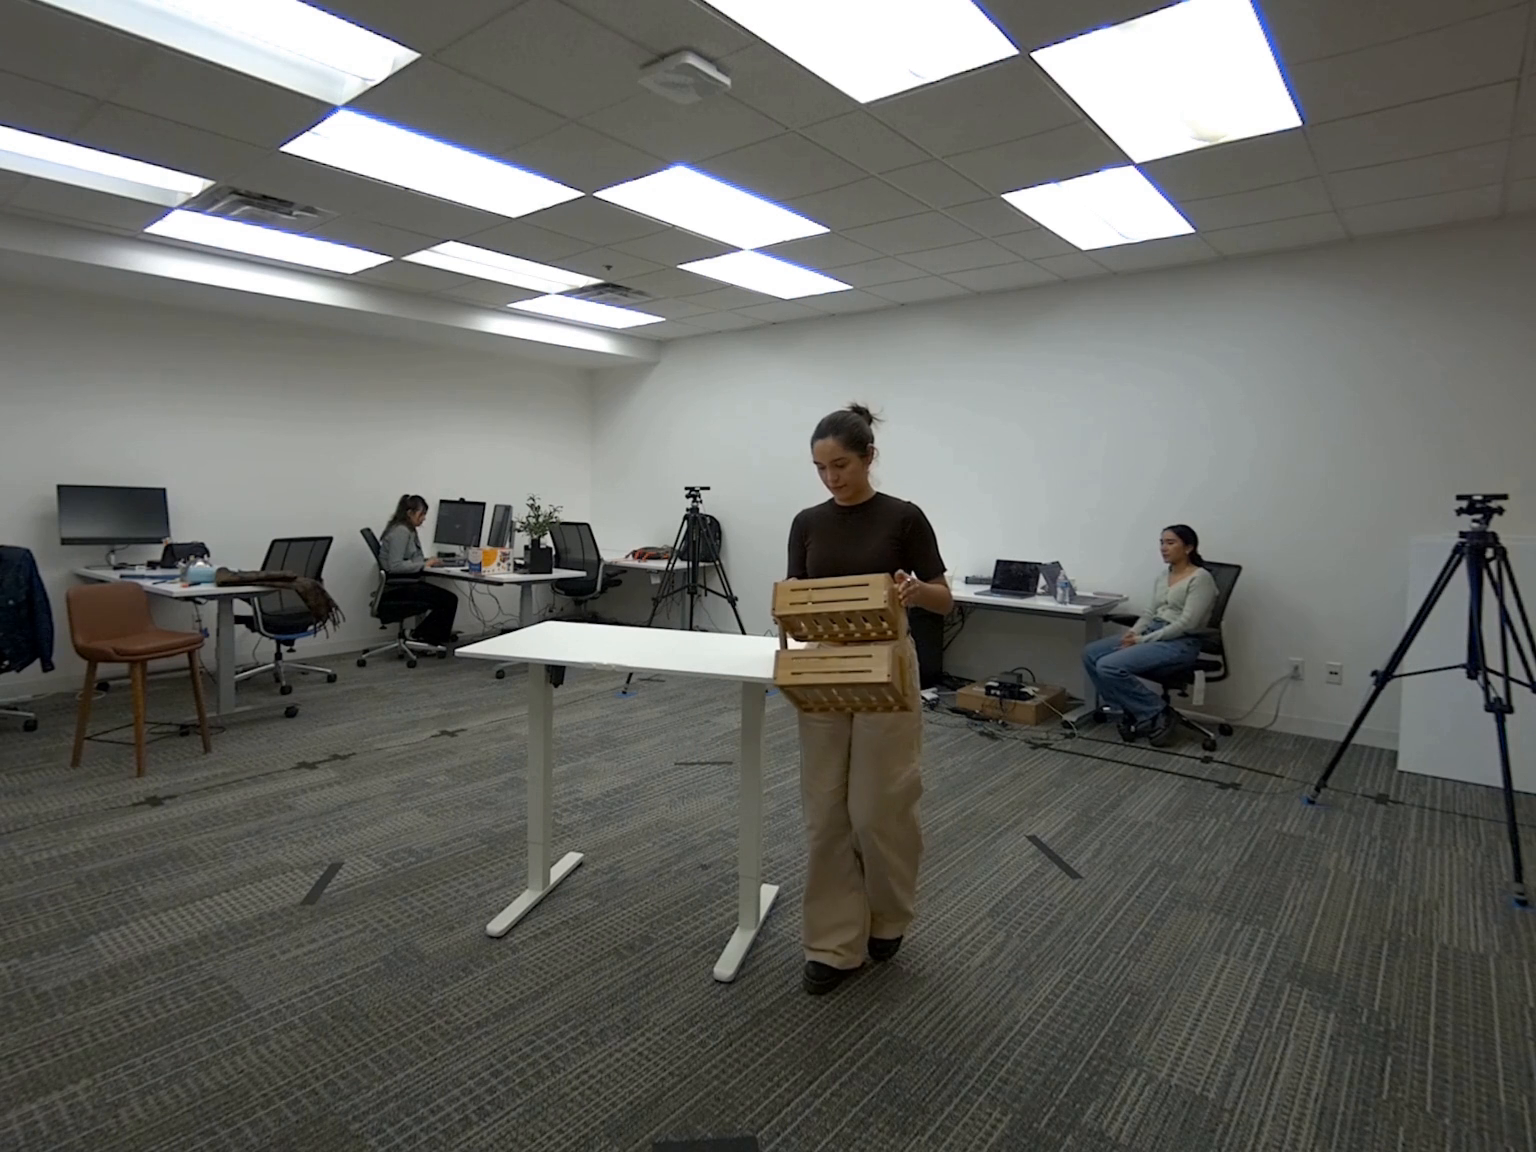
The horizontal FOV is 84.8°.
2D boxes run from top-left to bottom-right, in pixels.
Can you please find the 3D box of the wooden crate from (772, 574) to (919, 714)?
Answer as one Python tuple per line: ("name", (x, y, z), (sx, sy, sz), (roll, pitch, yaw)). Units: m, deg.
("wooden crate", (0.191, 0.179, 2.205), (0.331, 0.279, 0.290), (-5, -29, 23))
